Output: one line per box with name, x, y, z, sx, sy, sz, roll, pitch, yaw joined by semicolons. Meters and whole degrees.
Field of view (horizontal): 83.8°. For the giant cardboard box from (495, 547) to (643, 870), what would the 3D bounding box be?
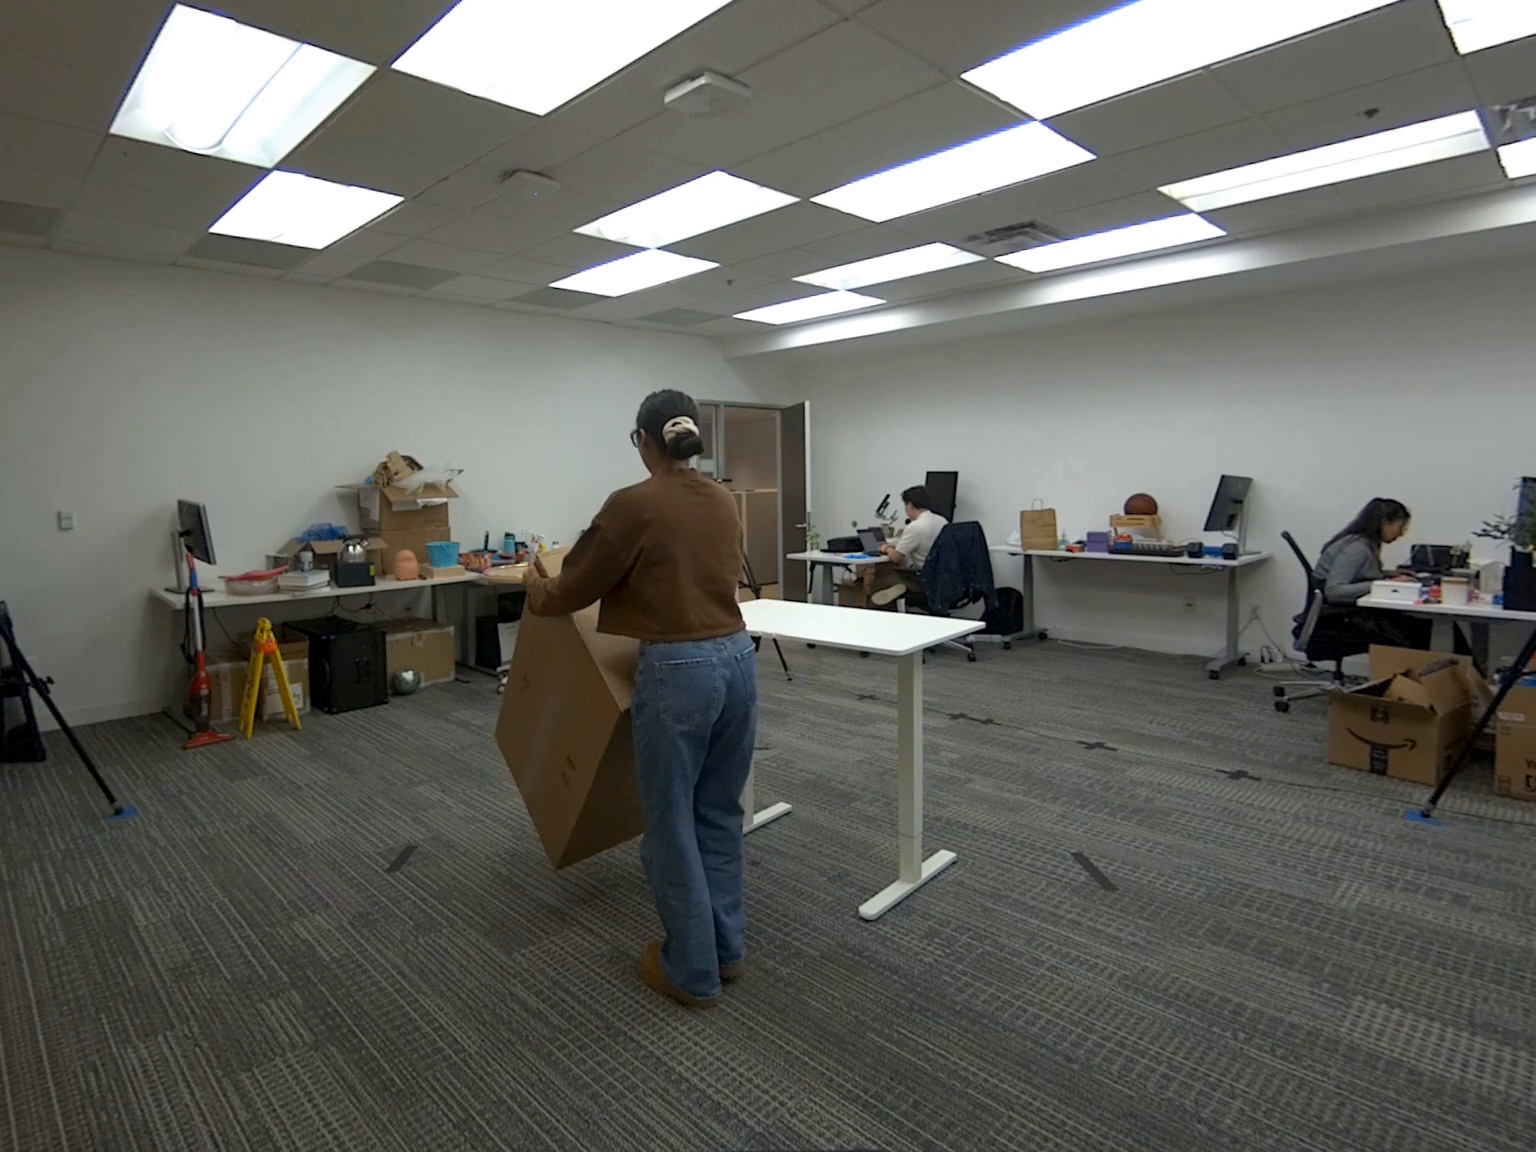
giant cardboard box;-0.547;0.429;2.839;0.417;0.597;1.013;-13;-35;-35
